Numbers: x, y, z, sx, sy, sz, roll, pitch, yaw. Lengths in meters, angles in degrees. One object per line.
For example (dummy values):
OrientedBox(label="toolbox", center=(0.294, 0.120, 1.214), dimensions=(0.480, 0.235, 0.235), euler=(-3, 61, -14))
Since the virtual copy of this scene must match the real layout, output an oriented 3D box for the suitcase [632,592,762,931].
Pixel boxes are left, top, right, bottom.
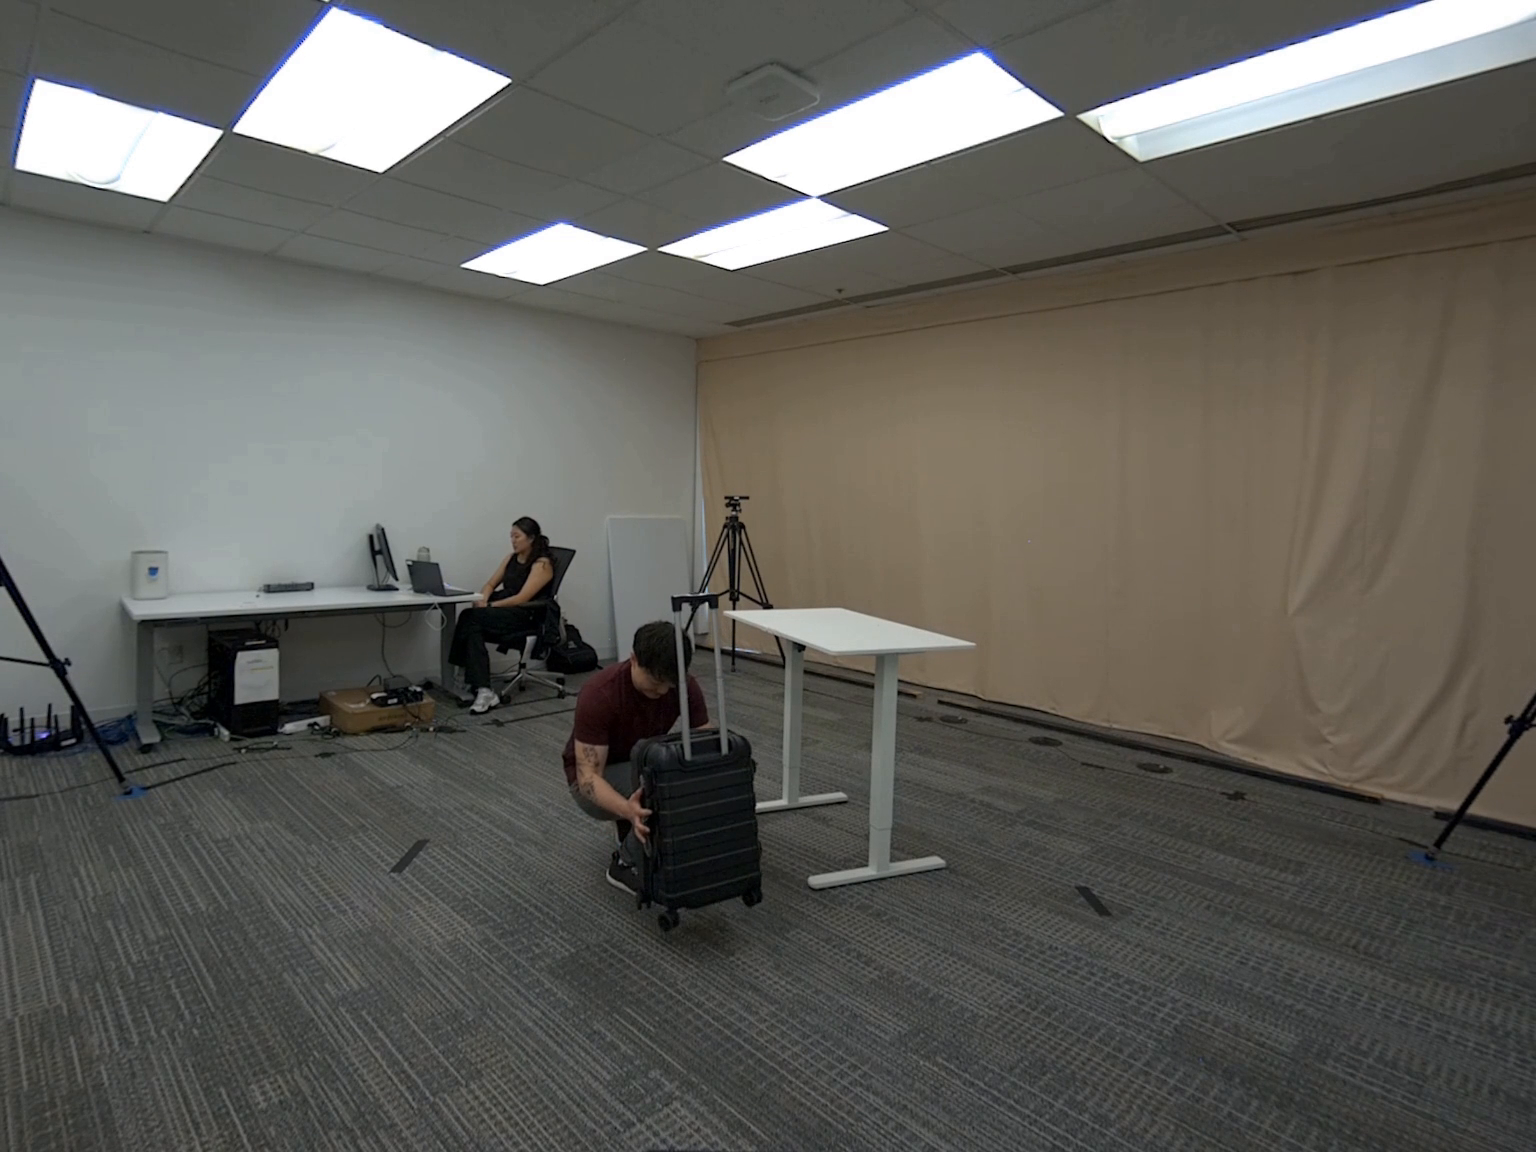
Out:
OrientedBox(label="suitcase", center=(-0.251, 0.565, 2.661), dimensions=(0.376, 0.981, 0.261), euler=(-2, -4, -30))
